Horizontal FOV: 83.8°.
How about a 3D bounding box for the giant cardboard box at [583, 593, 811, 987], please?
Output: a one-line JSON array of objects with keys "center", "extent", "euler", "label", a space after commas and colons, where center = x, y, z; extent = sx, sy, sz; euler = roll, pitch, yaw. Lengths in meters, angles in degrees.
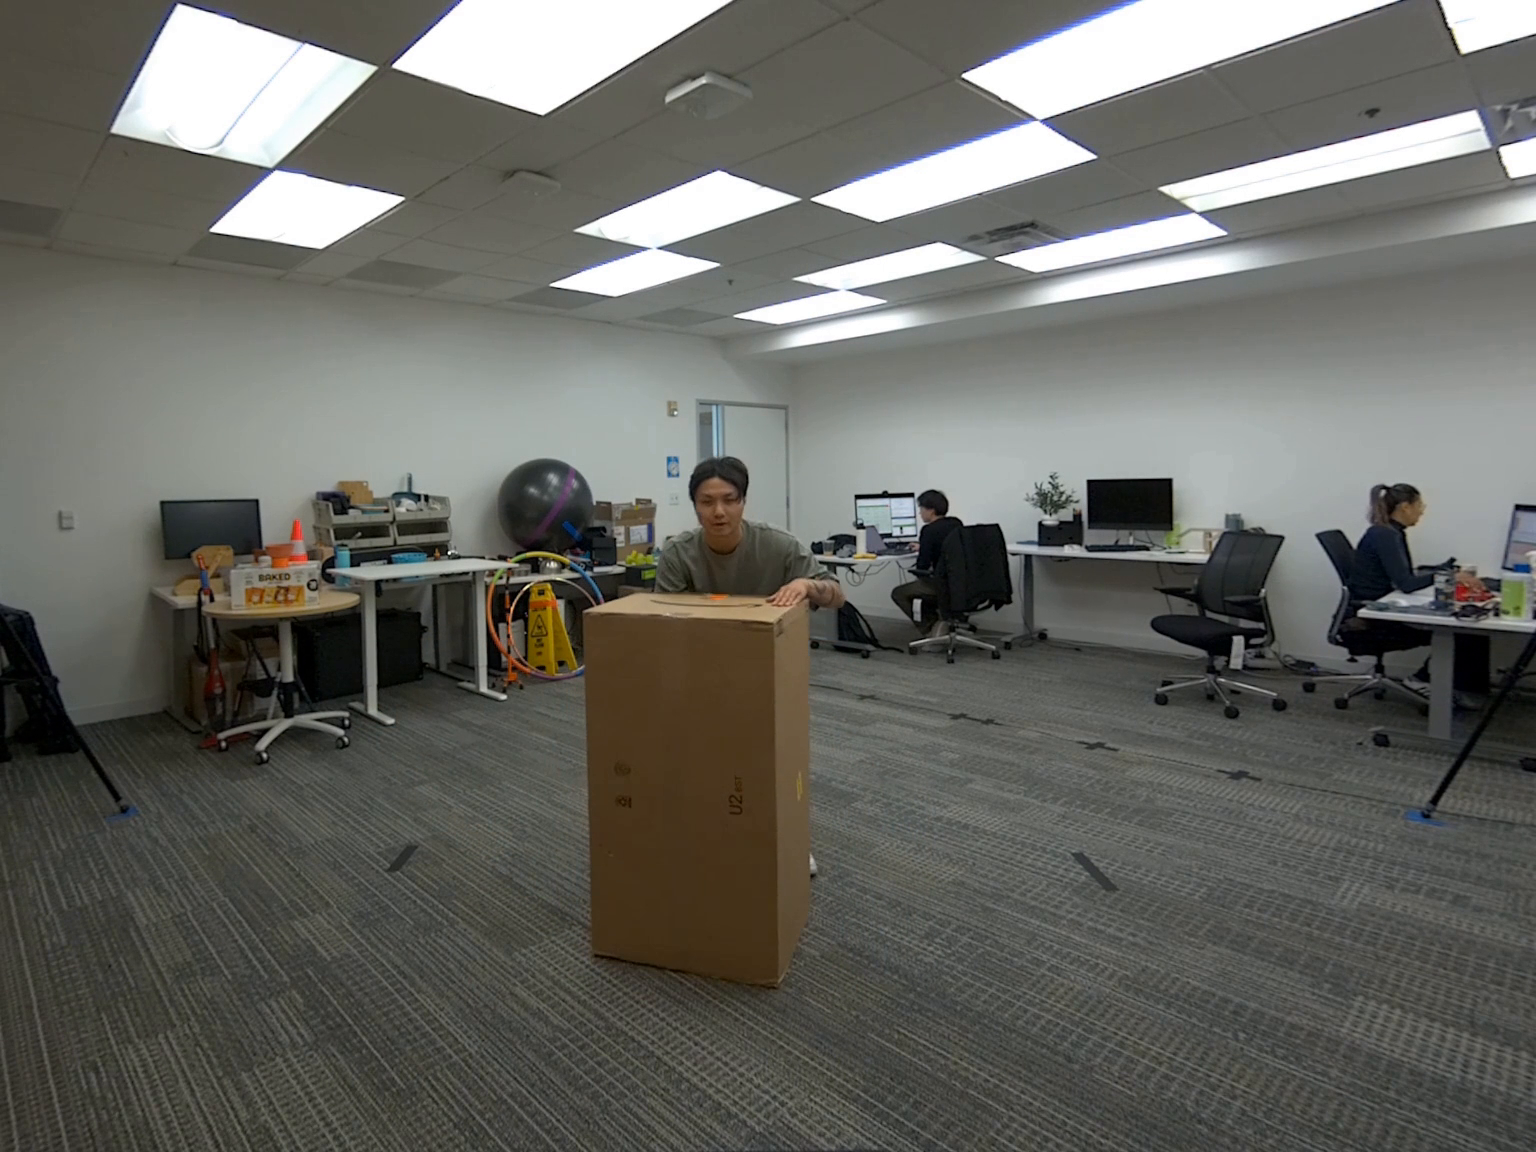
[{"center": [-0.199, 0.594, 2.594], "extent": [0.587, 1.021, 0.421], "euler": [0, 5, 17], "label": "giant cardboard box"}]
